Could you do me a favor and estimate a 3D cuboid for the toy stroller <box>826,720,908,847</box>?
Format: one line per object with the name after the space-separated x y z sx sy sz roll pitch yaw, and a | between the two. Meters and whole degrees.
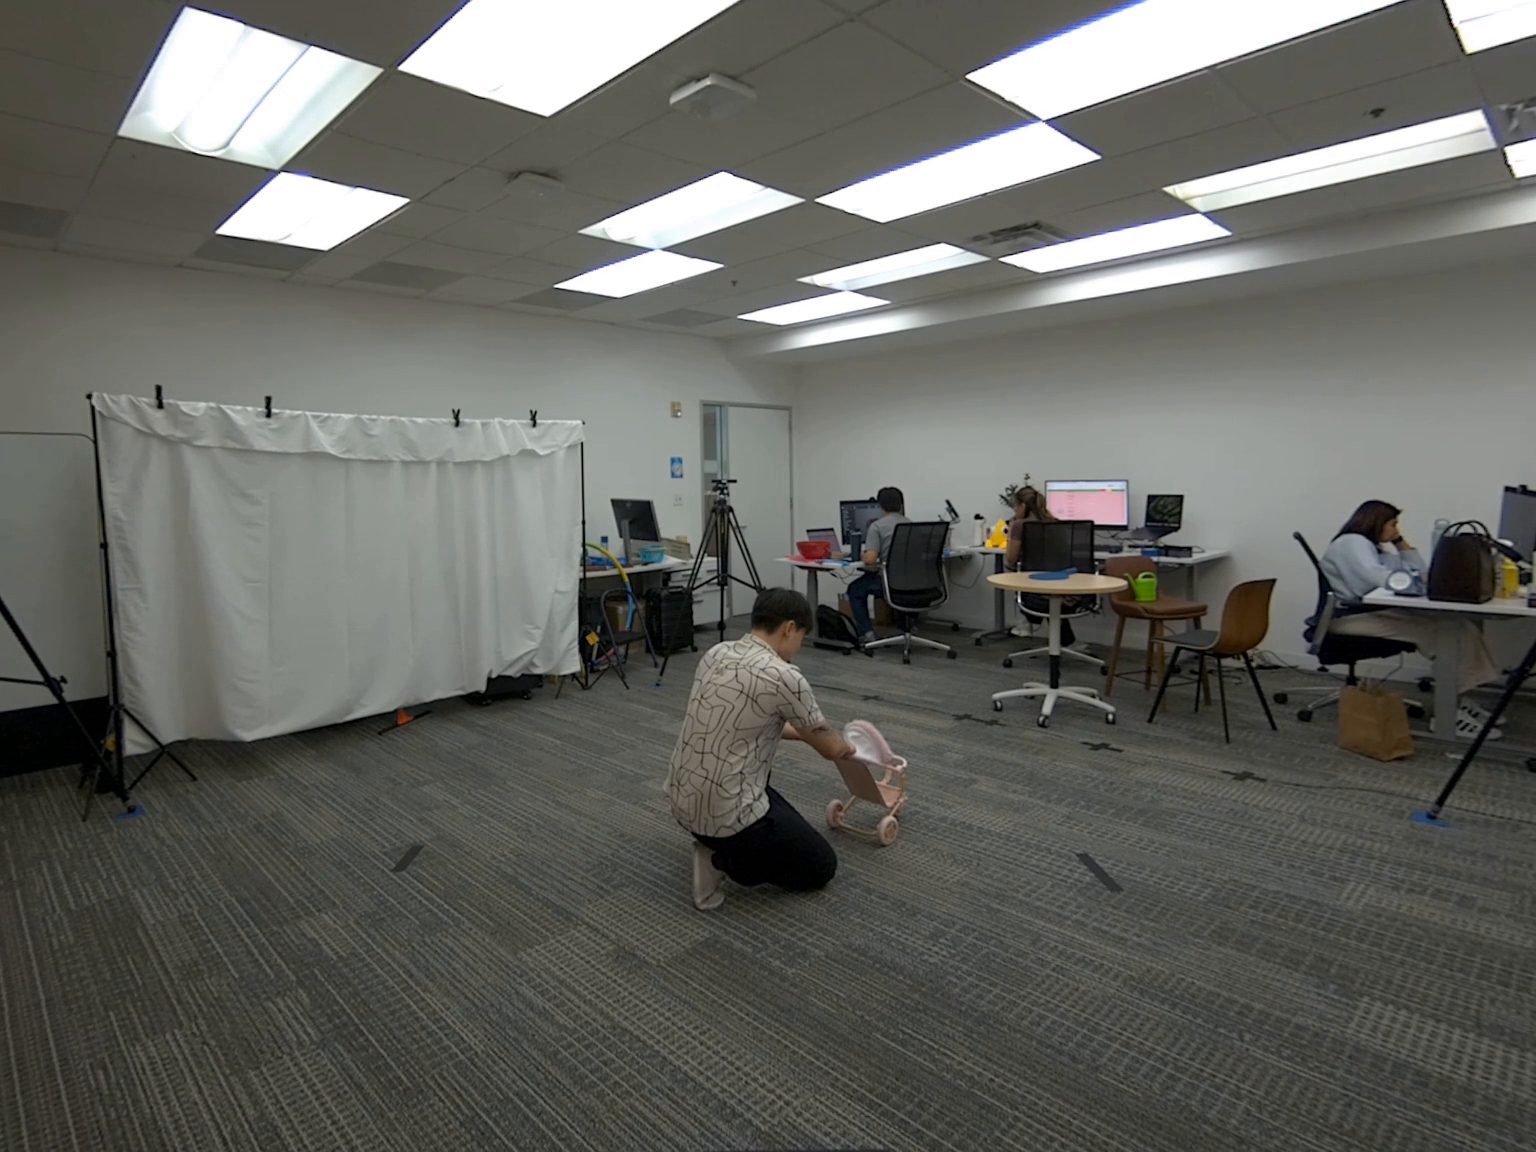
0.395 0.788 3.359 0.290 0.524 0.337 6 29 46 | toy stroller
